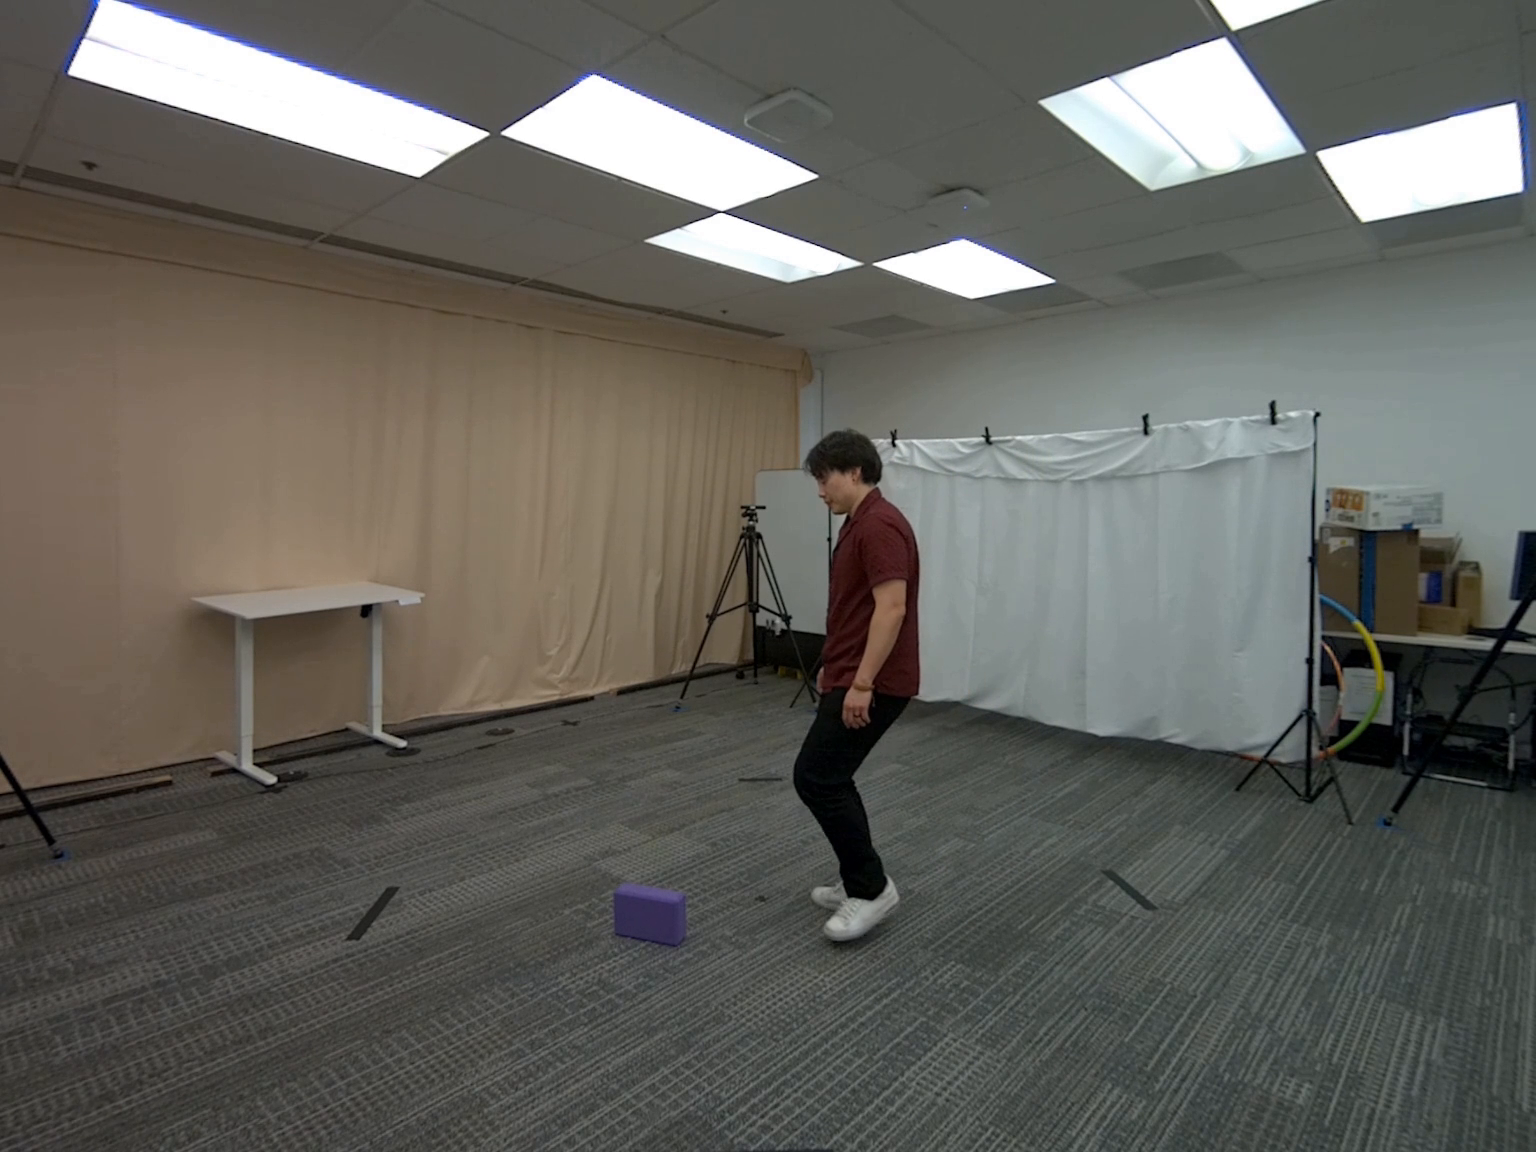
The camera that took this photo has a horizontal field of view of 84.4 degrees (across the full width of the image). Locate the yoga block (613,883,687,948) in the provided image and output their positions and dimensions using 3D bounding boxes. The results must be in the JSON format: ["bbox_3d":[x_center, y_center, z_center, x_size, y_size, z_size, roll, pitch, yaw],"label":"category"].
[{"bbox_3d":[-0.379,1.093,2.721,0.234,0.148,0.075,1,4,18],"label":"yoga block"}]
